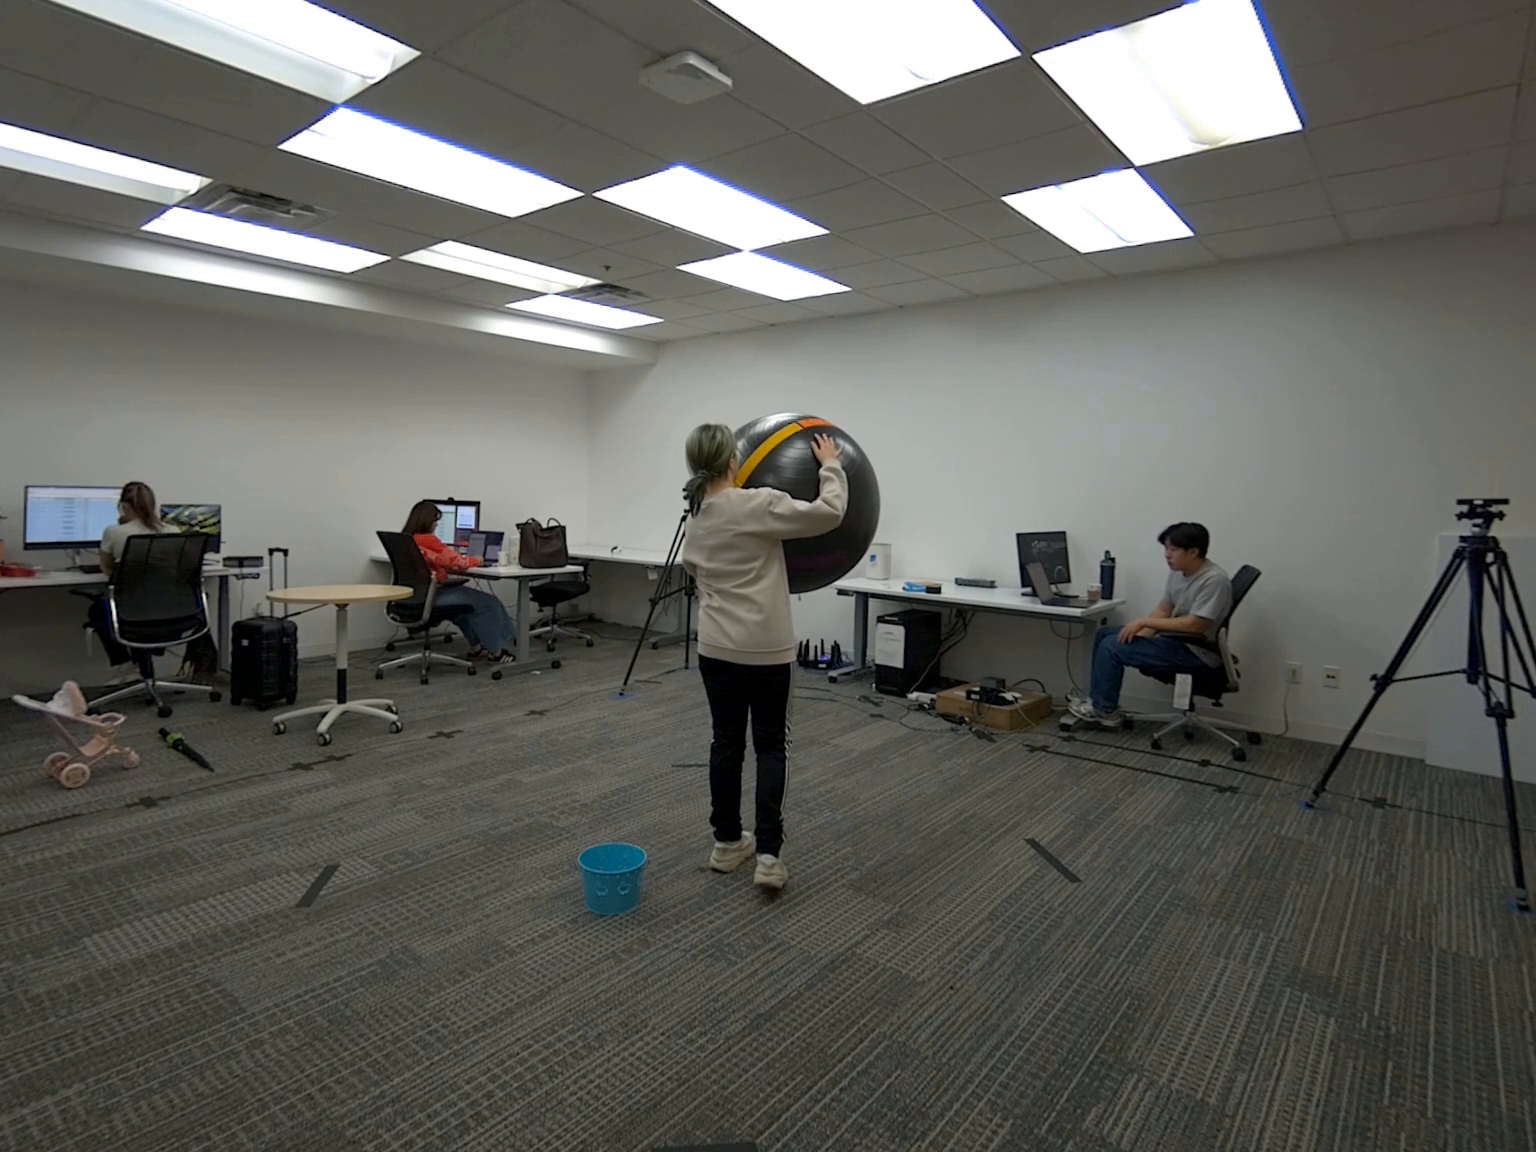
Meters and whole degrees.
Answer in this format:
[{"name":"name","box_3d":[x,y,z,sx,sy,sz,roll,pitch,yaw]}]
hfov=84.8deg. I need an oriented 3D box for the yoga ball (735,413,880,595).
[{"name":"yoga ball","box_3d":[0.090,-0.298,3.570,0.757,0.756,0.761,1,4,-2]}]
